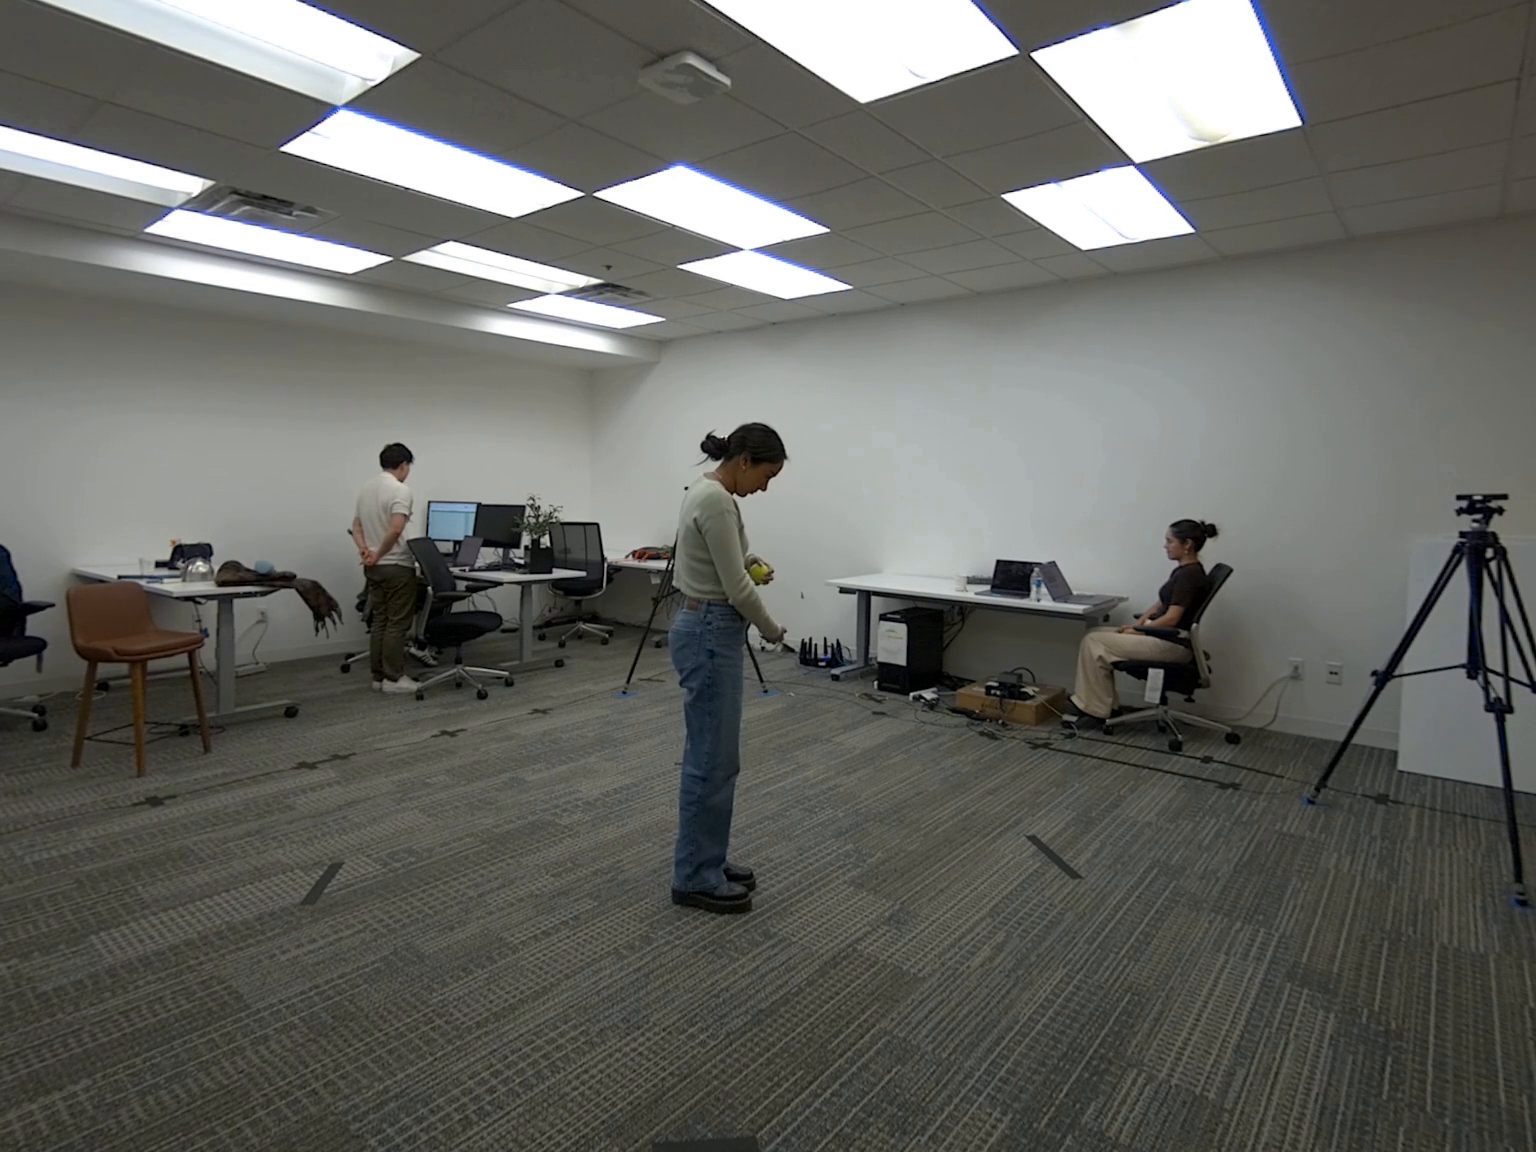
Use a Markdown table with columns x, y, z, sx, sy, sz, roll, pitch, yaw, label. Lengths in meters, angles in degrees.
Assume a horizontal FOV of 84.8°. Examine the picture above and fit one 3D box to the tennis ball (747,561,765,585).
| x | y | z | sx | sy | sz | roll | pitch | yaw | label |
| --- | --- | --- | --- | --- | --- | --- | --- | --- | --- |
| -0.074 | -0.015 | 2.950 | 0.066 | 0.066 | 0.067 | 1 | 4 | -2 | tennis ball |
